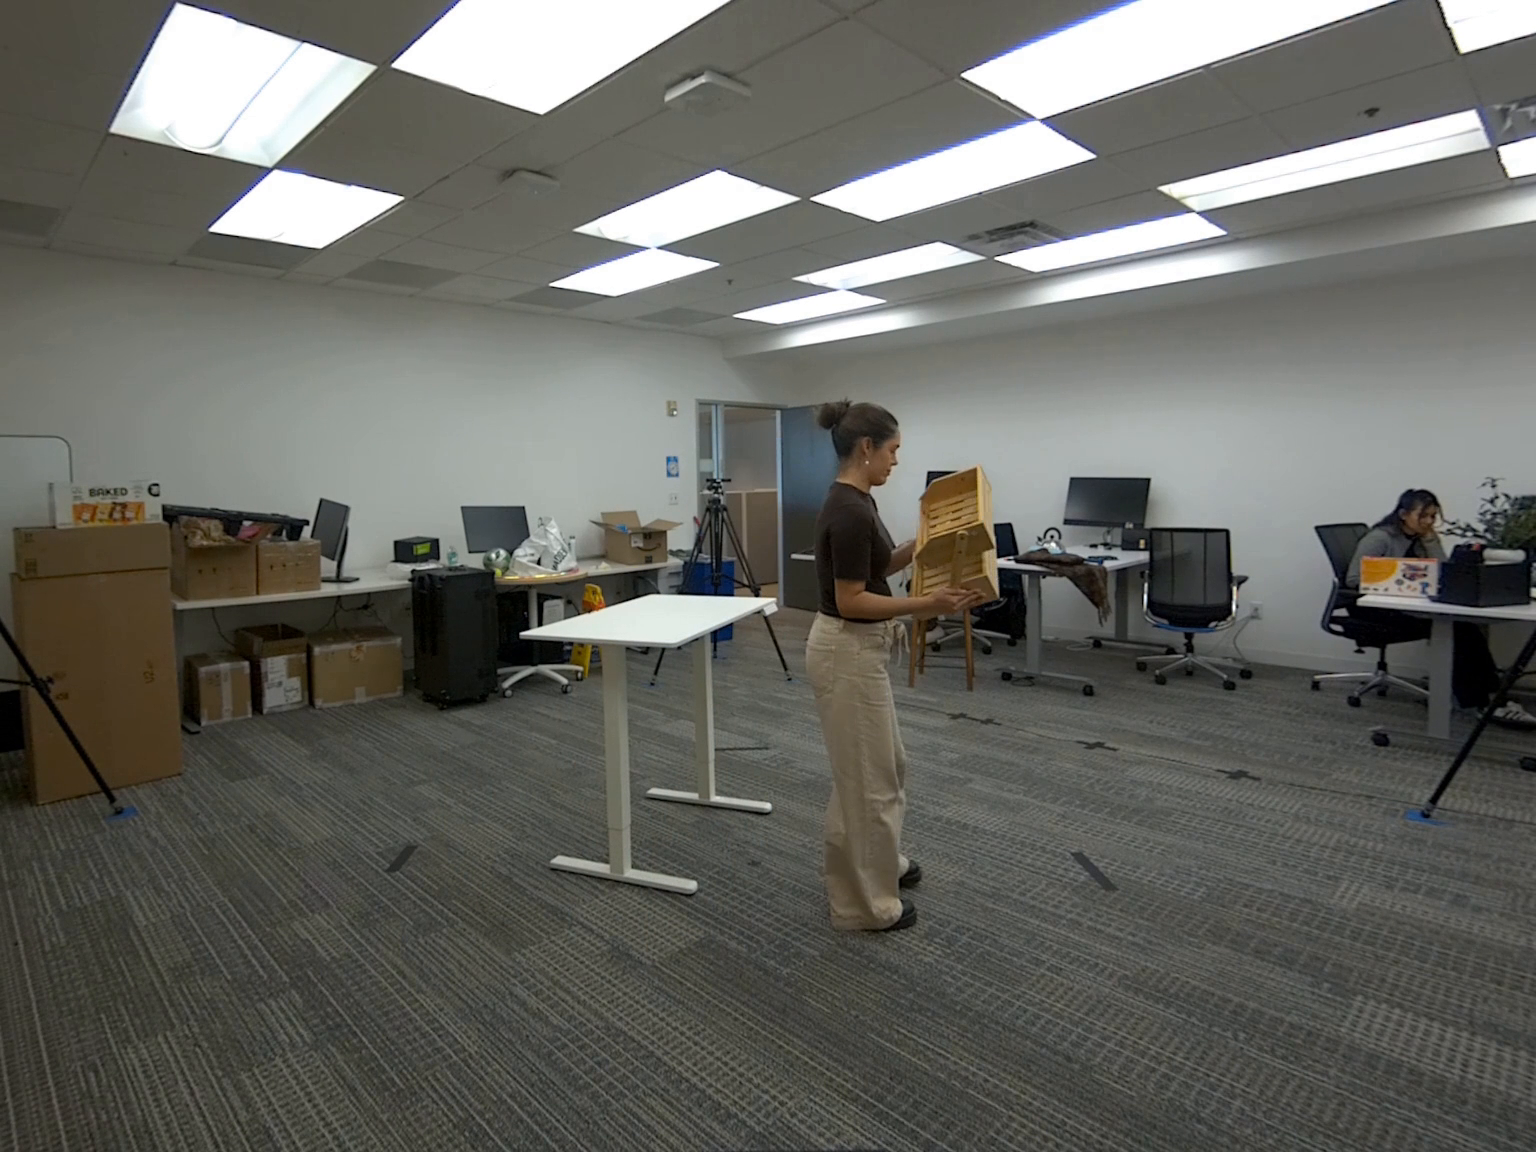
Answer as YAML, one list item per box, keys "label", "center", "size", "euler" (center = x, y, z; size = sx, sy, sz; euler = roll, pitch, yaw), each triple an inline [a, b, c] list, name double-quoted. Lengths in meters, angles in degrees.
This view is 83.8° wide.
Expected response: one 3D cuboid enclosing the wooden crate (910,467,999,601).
- label: "wooden crate"
  center: [0.521, -0.099, 2.488]
  size: [0.306, 0.265, 0.329]
  euler: [-19, 30, 25]
